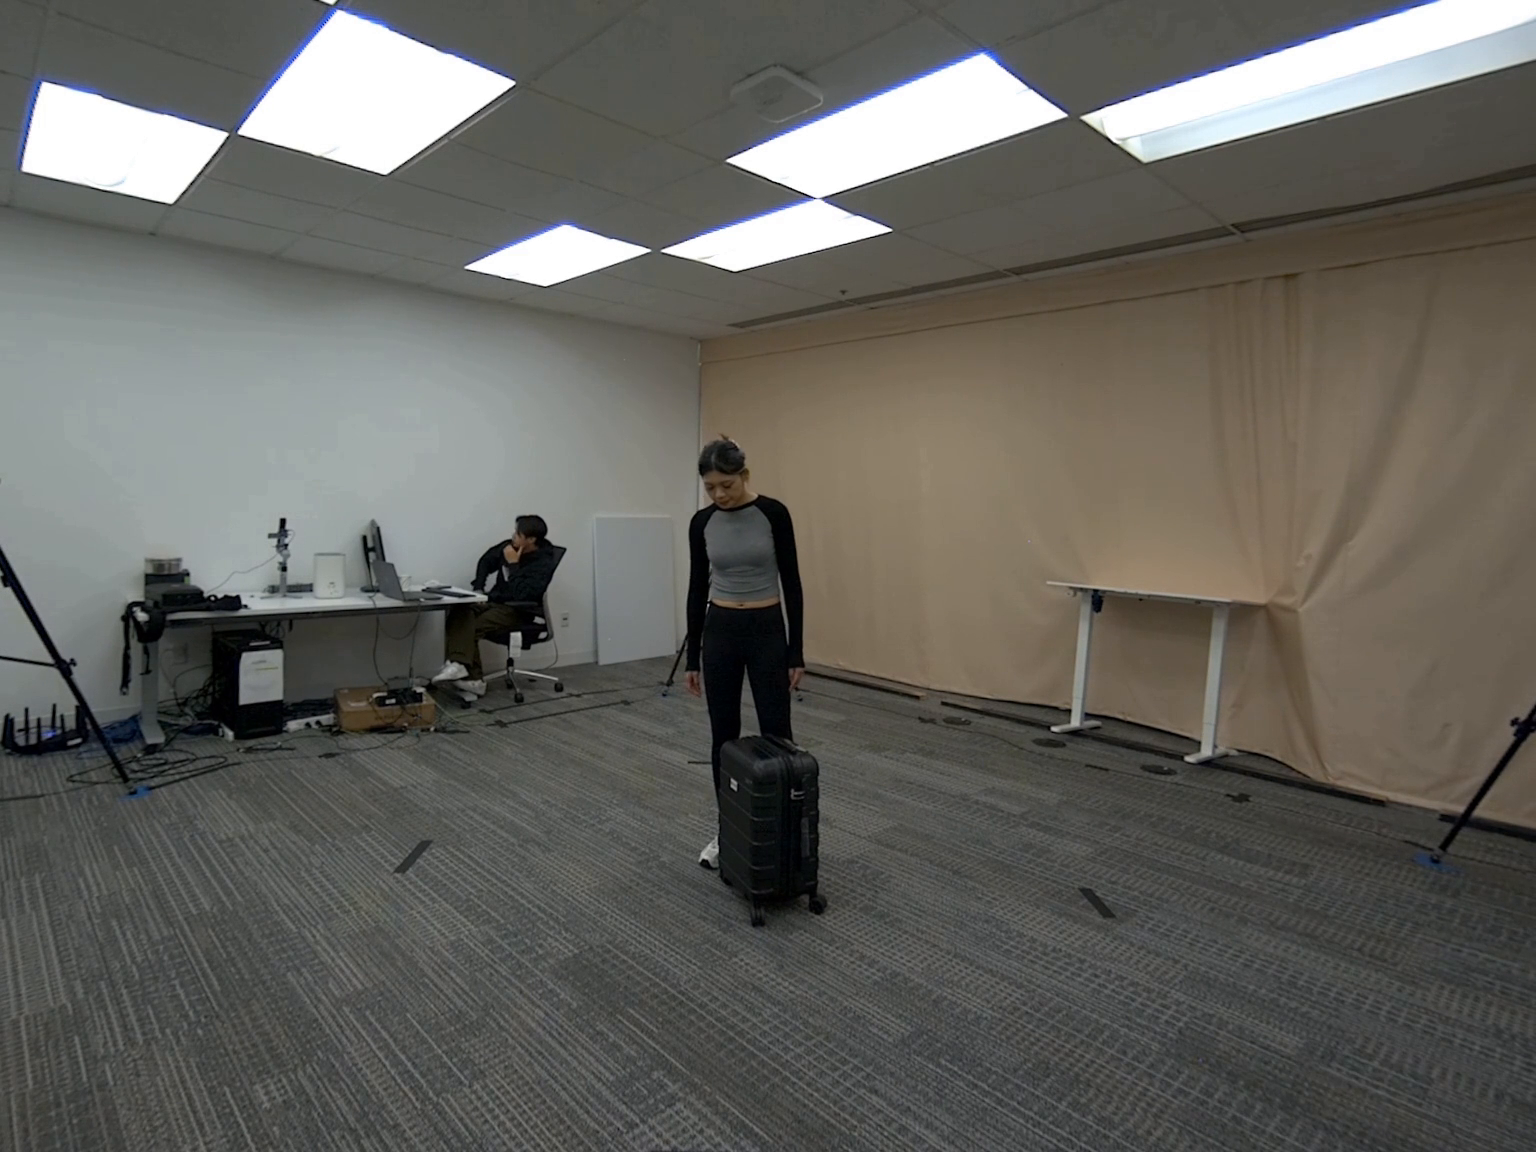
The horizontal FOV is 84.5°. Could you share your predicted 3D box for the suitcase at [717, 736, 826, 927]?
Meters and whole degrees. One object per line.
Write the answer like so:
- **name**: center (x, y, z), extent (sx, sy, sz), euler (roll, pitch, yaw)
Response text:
- **suitcase**: center (-0.007, 0.847, 2.929), extent (0.244, 0.548, 0.382), euler (0, 4, -23)
